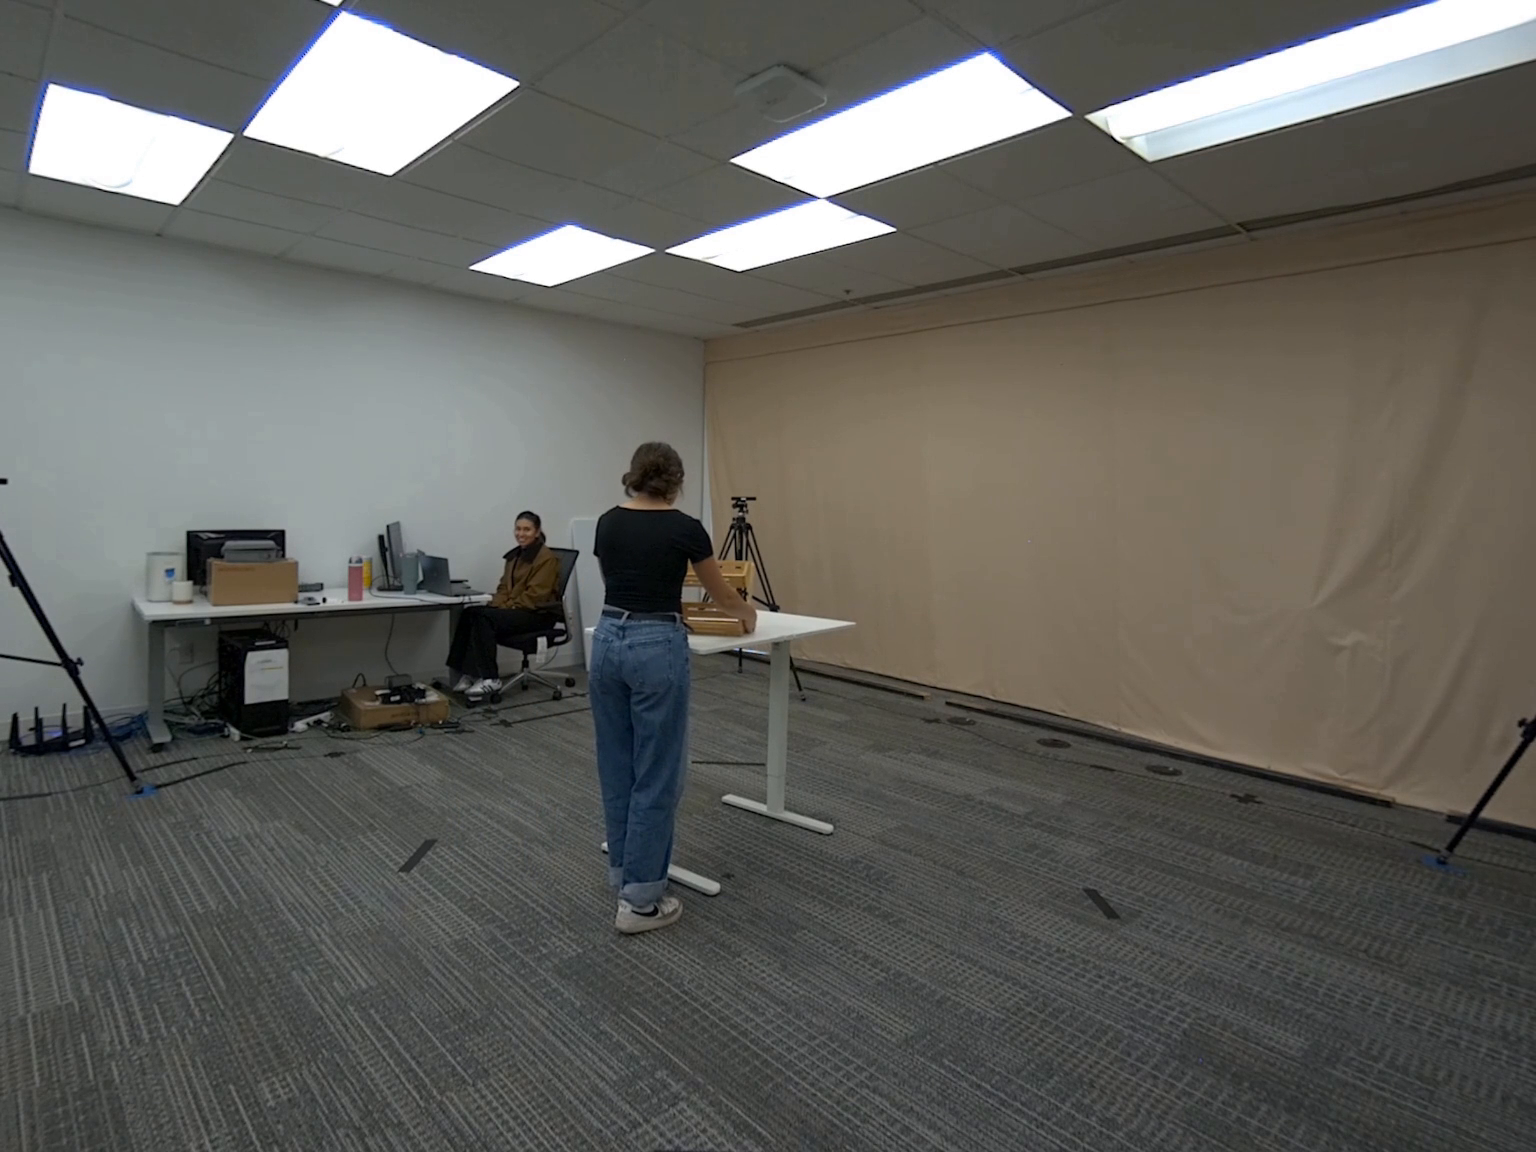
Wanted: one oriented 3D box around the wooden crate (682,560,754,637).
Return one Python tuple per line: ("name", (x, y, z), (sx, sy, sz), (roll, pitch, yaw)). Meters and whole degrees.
("wooden crate", (-0.238, 0.084, 3.241), (0.327, 0.272, 0.300), (1, 5, 9))
